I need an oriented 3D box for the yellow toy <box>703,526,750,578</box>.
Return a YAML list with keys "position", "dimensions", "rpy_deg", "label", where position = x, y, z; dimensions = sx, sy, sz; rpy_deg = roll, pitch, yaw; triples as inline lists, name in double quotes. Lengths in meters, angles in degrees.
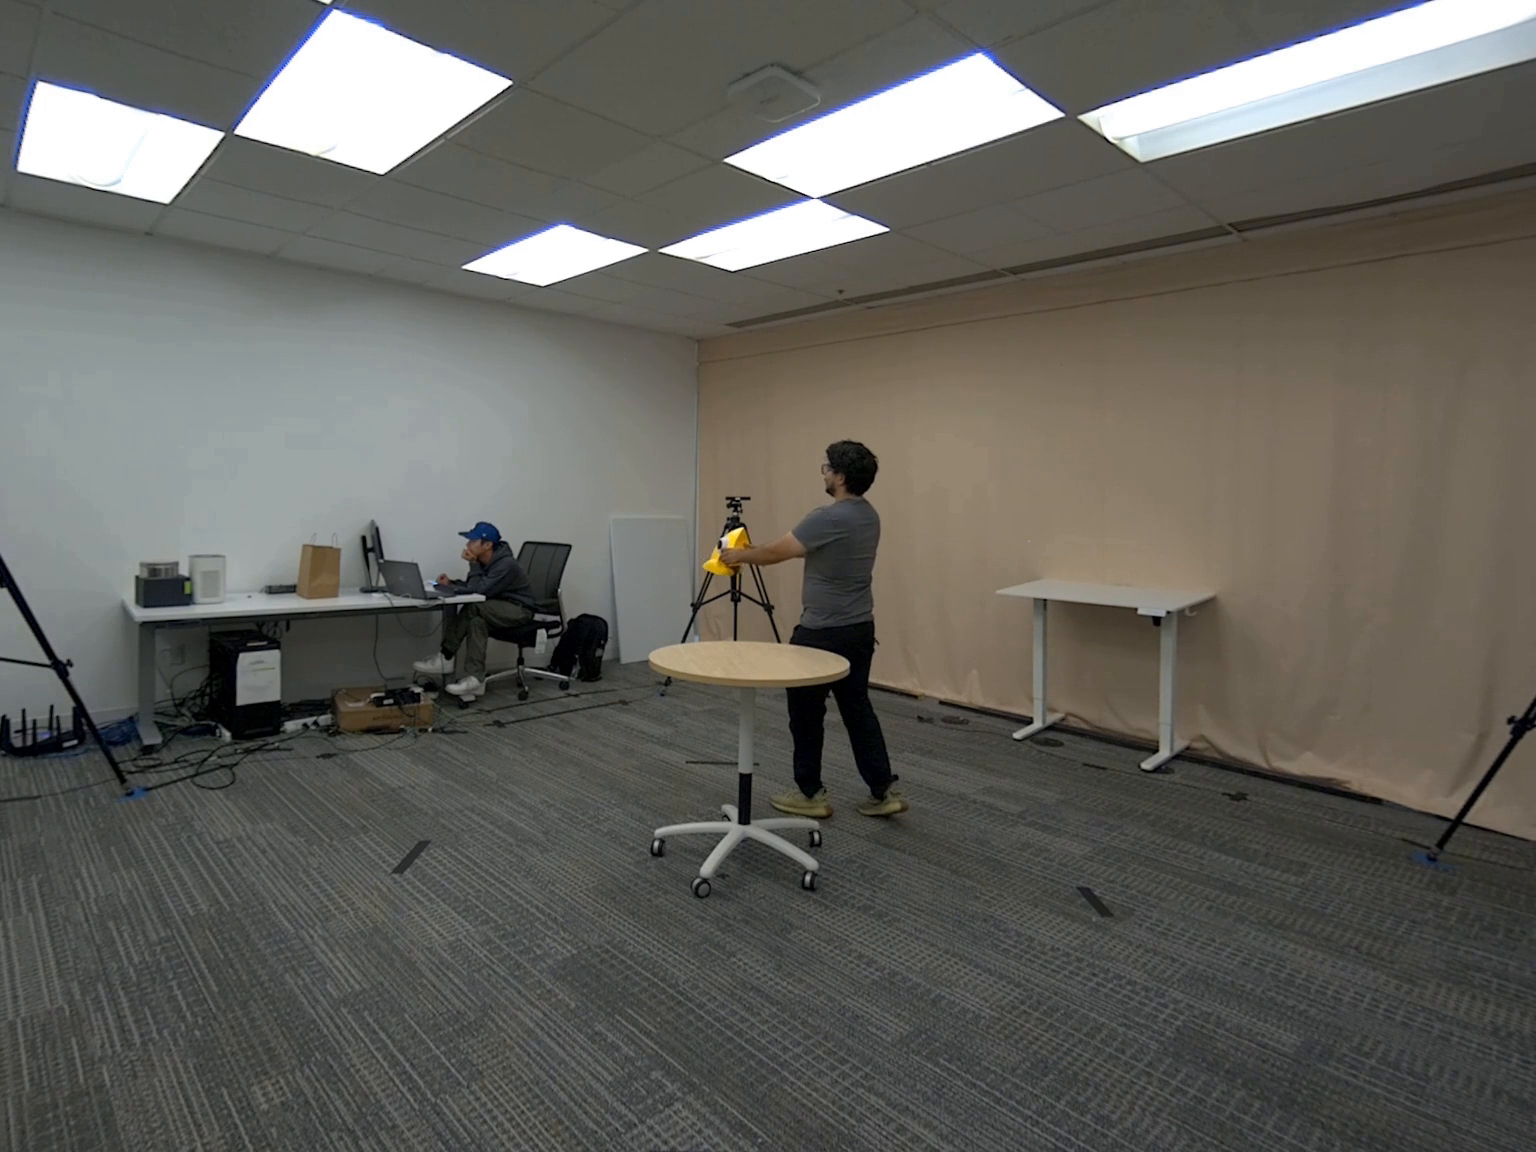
- position: [-0.190, -0.137, 4.031]
  dimensions: [0.198, 0.229, 0.201]
  rpy_deg: [18, 16, 31]
  label: "yellow toy"
